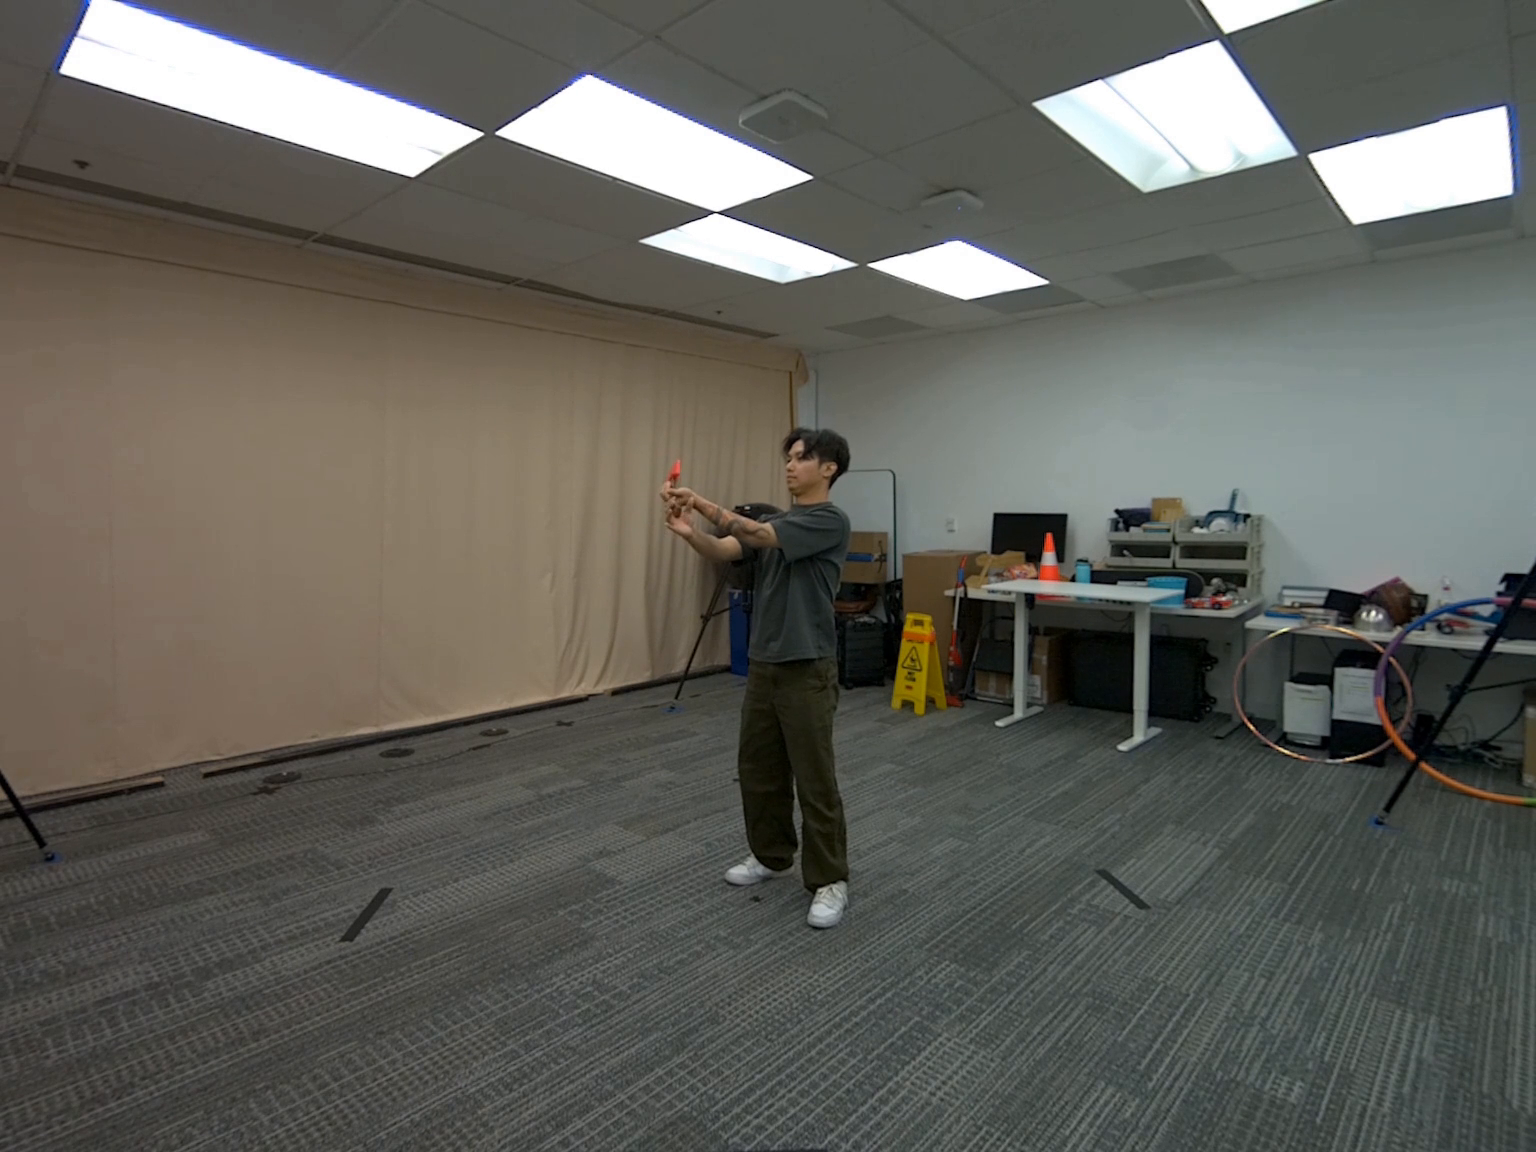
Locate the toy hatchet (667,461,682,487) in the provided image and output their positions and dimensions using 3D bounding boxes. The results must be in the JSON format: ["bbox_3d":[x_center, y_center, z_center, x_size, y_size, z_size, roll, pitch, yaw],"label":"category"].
[{"bbox_3d":[-0.286,-0.295,2.701,0.029,0.131,0.277,20,16,-22],"label":"toy hatchet"}]
